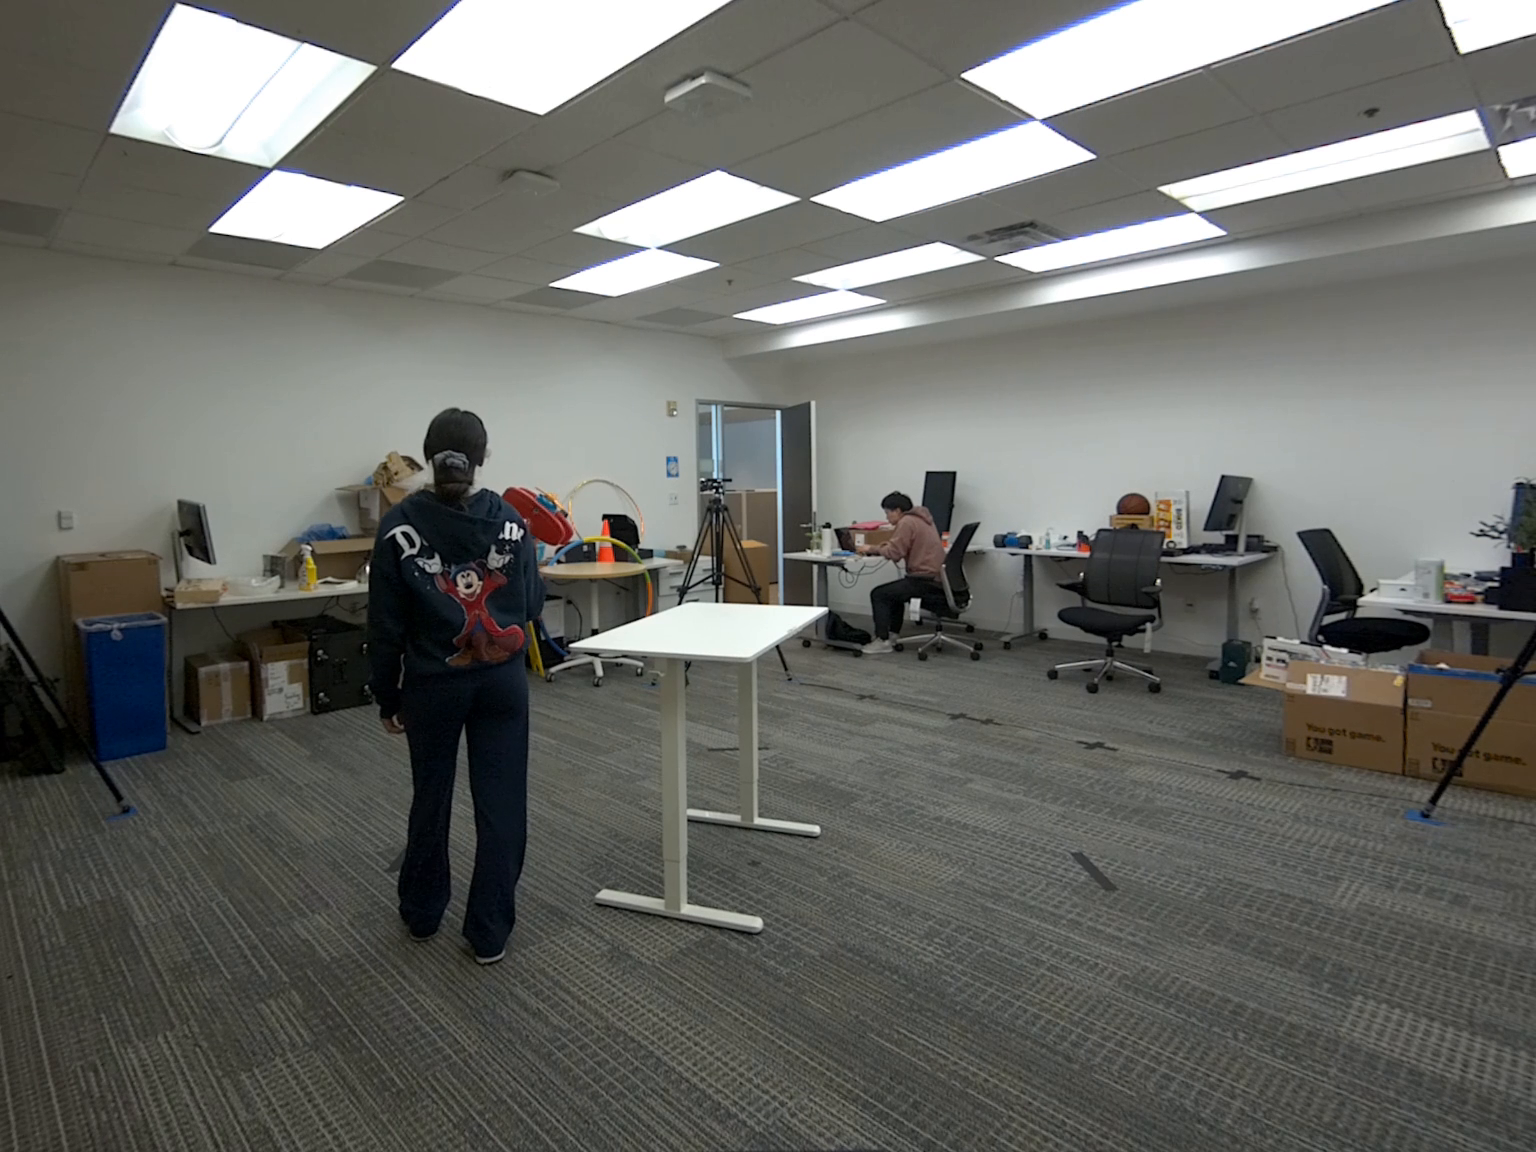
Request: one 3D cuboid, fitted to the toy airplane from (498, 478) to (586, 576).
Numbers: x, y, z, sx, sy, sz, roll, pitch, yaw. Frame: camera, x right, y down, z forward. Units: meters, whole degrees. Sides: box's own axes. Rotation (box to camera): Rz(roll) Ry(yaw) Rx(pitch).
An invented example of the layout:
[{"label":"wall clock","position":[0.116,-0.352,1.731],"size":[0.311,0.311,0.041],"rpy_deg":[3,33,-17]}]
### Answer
[{"label":"toy airplane","position":[-0.778,-0.162,2.871],"size":[0.252,0.261,0.155],"rpy_deg":[11,-8,2]}]
